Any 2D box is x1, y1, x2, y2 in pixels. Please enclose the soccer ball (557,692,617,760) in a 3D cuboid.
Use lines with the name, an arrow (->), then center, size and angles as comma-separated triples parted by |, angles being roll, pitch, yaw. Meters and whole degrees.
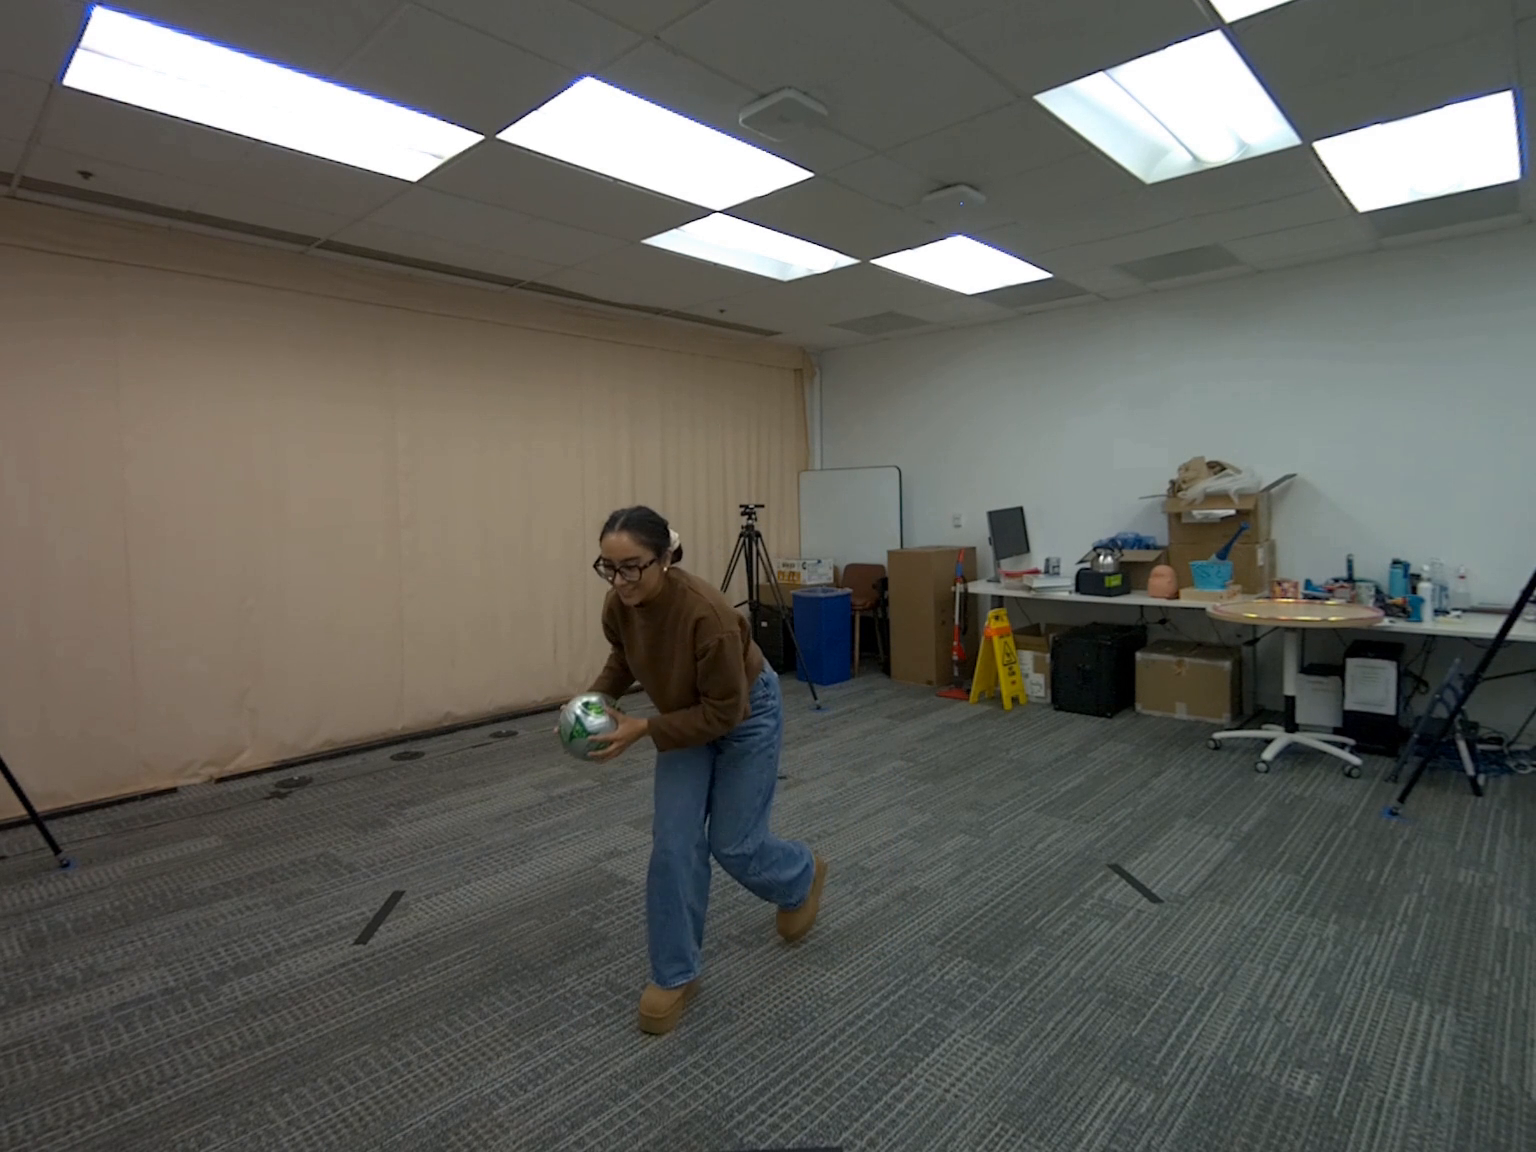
soccer ball -> -0.458, 0.402, 2.280 | 0.187, 0.187, 0.188 | -1, 4, -2
